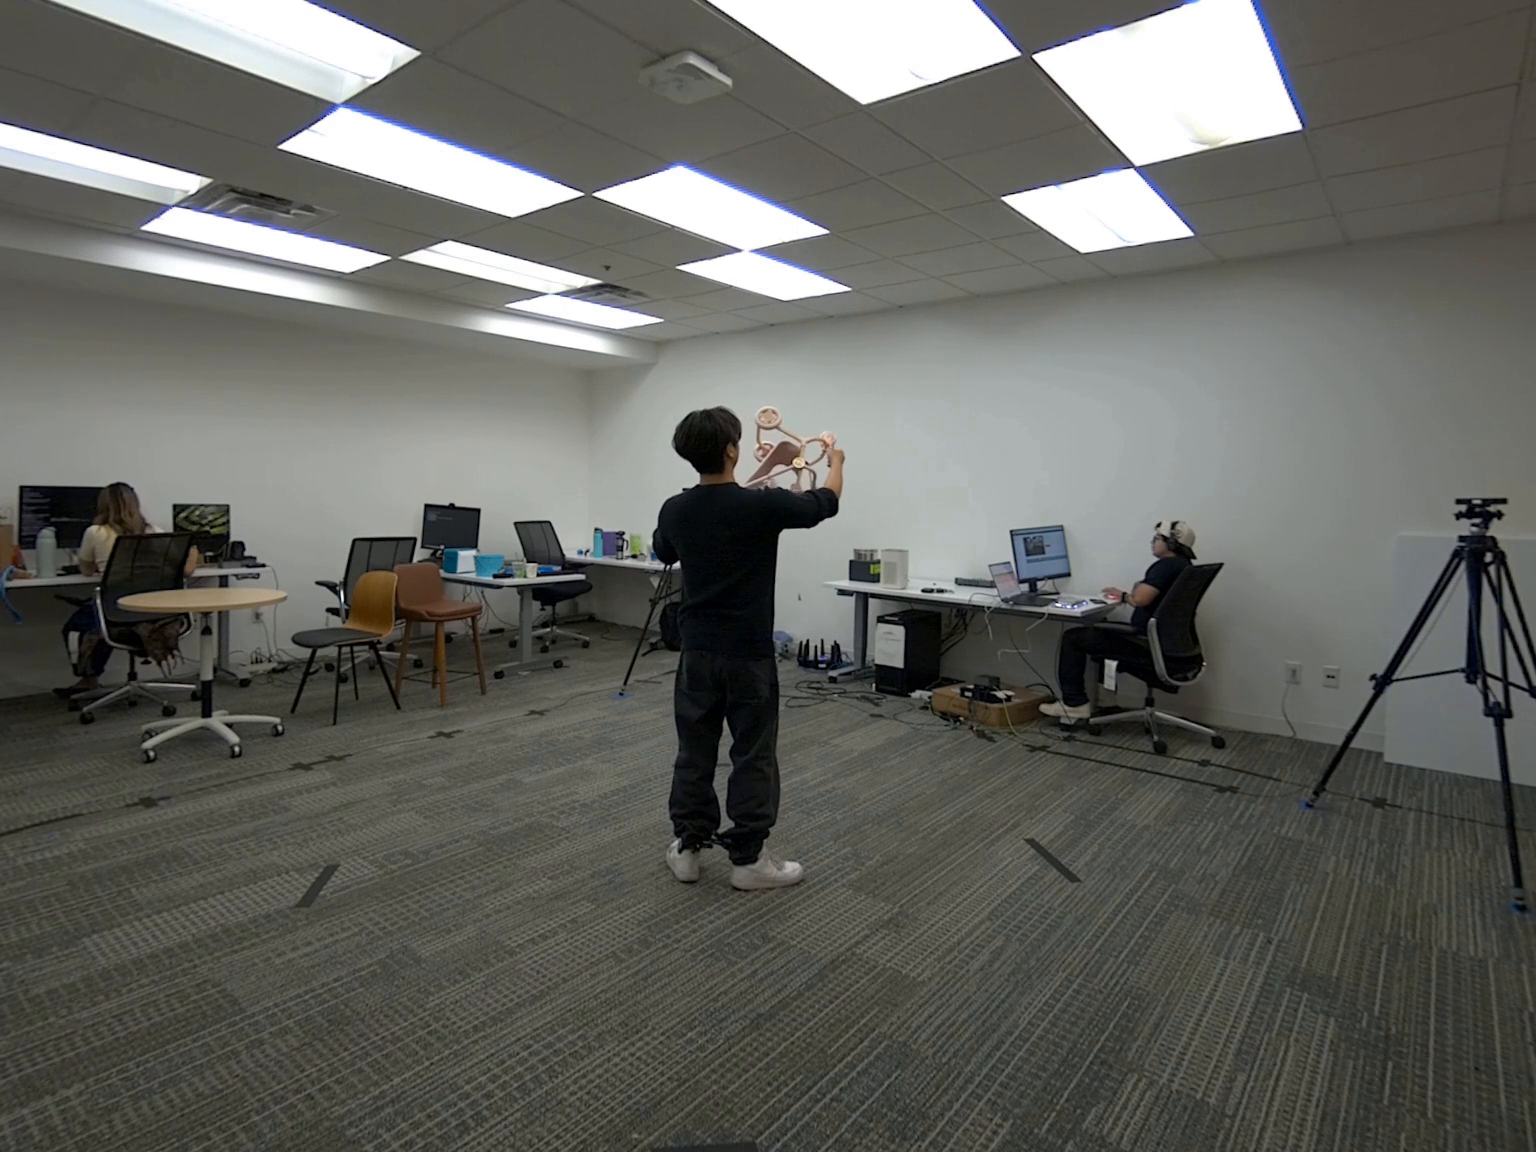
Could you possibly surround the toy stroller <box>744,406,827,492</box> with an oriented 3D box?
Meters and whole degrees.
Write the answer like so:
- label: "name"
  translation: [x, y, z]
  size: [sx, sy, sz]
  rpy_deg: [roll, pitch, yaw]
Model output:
- label: "toy stroller"
  translation: [0.038, -0.422, 3.456]
  size: [0.345, 0.540, 0.276]
  rpy_deg: [21, -27, 6]
